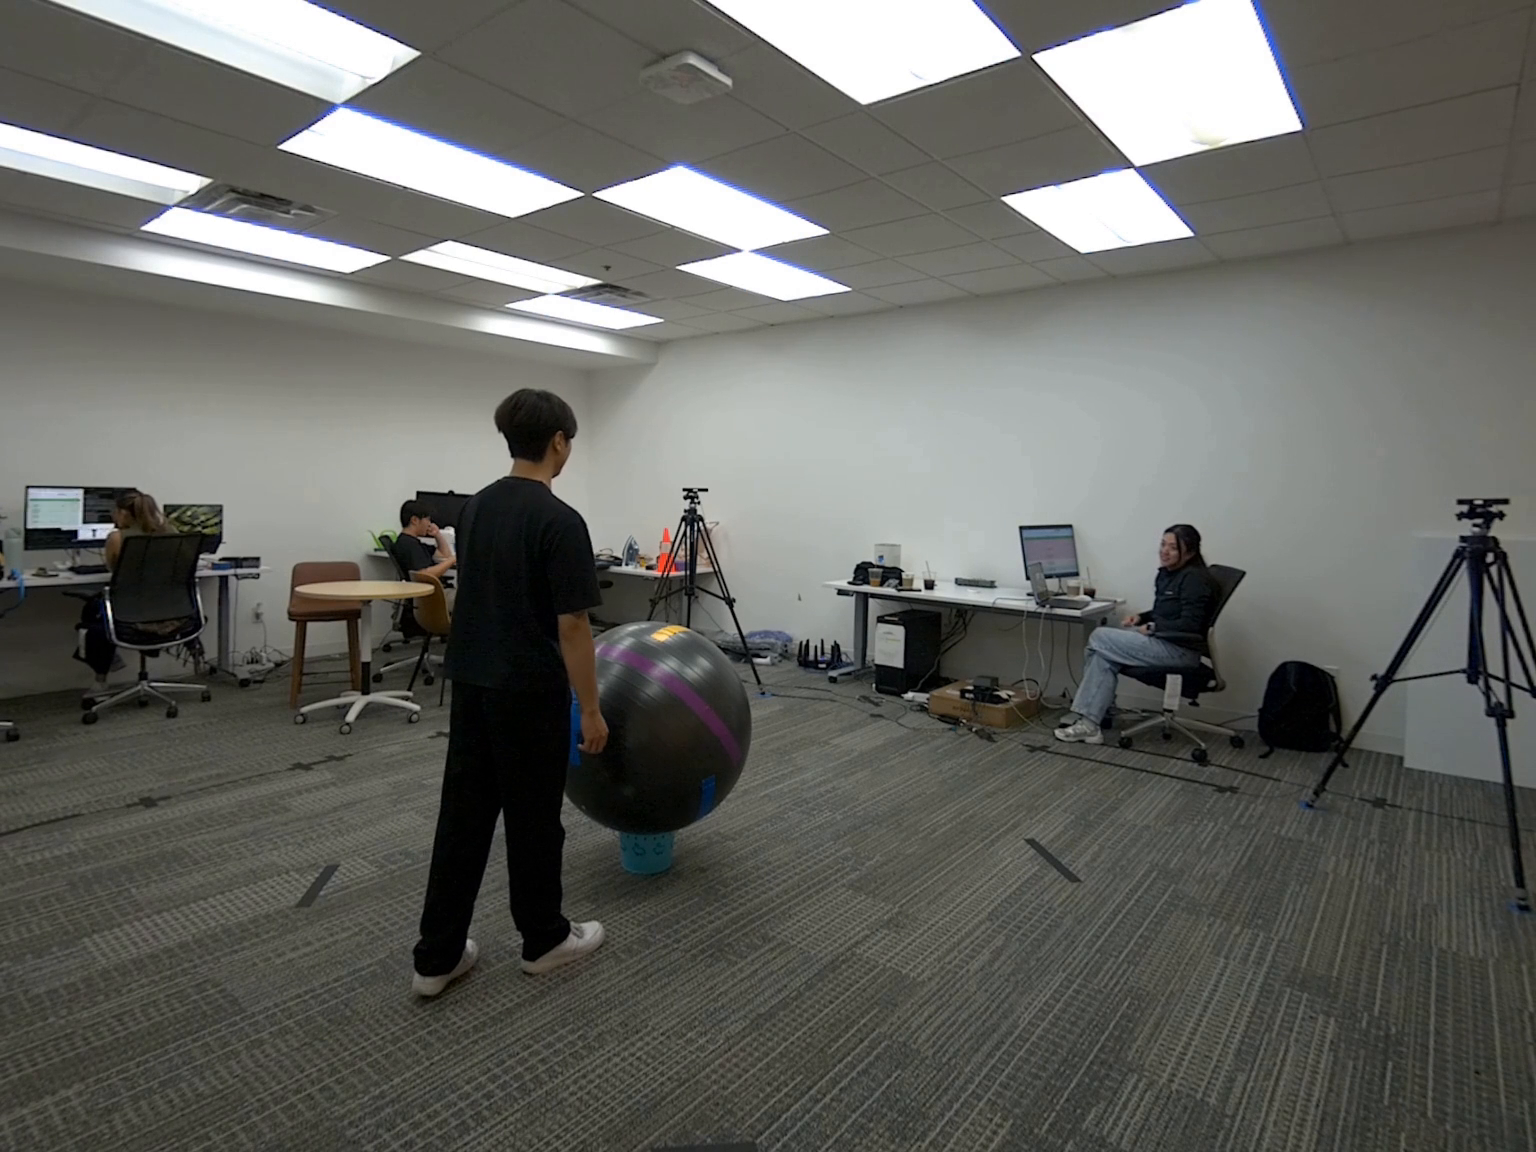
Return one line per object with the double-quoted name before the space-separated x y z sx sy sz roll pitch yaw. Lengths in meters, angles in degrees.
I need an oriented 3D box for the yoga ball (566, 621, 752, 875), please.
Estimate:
"yoga ball" -0.446 0.550 3.134 0.757 0.755 0.762 1 4 -2
